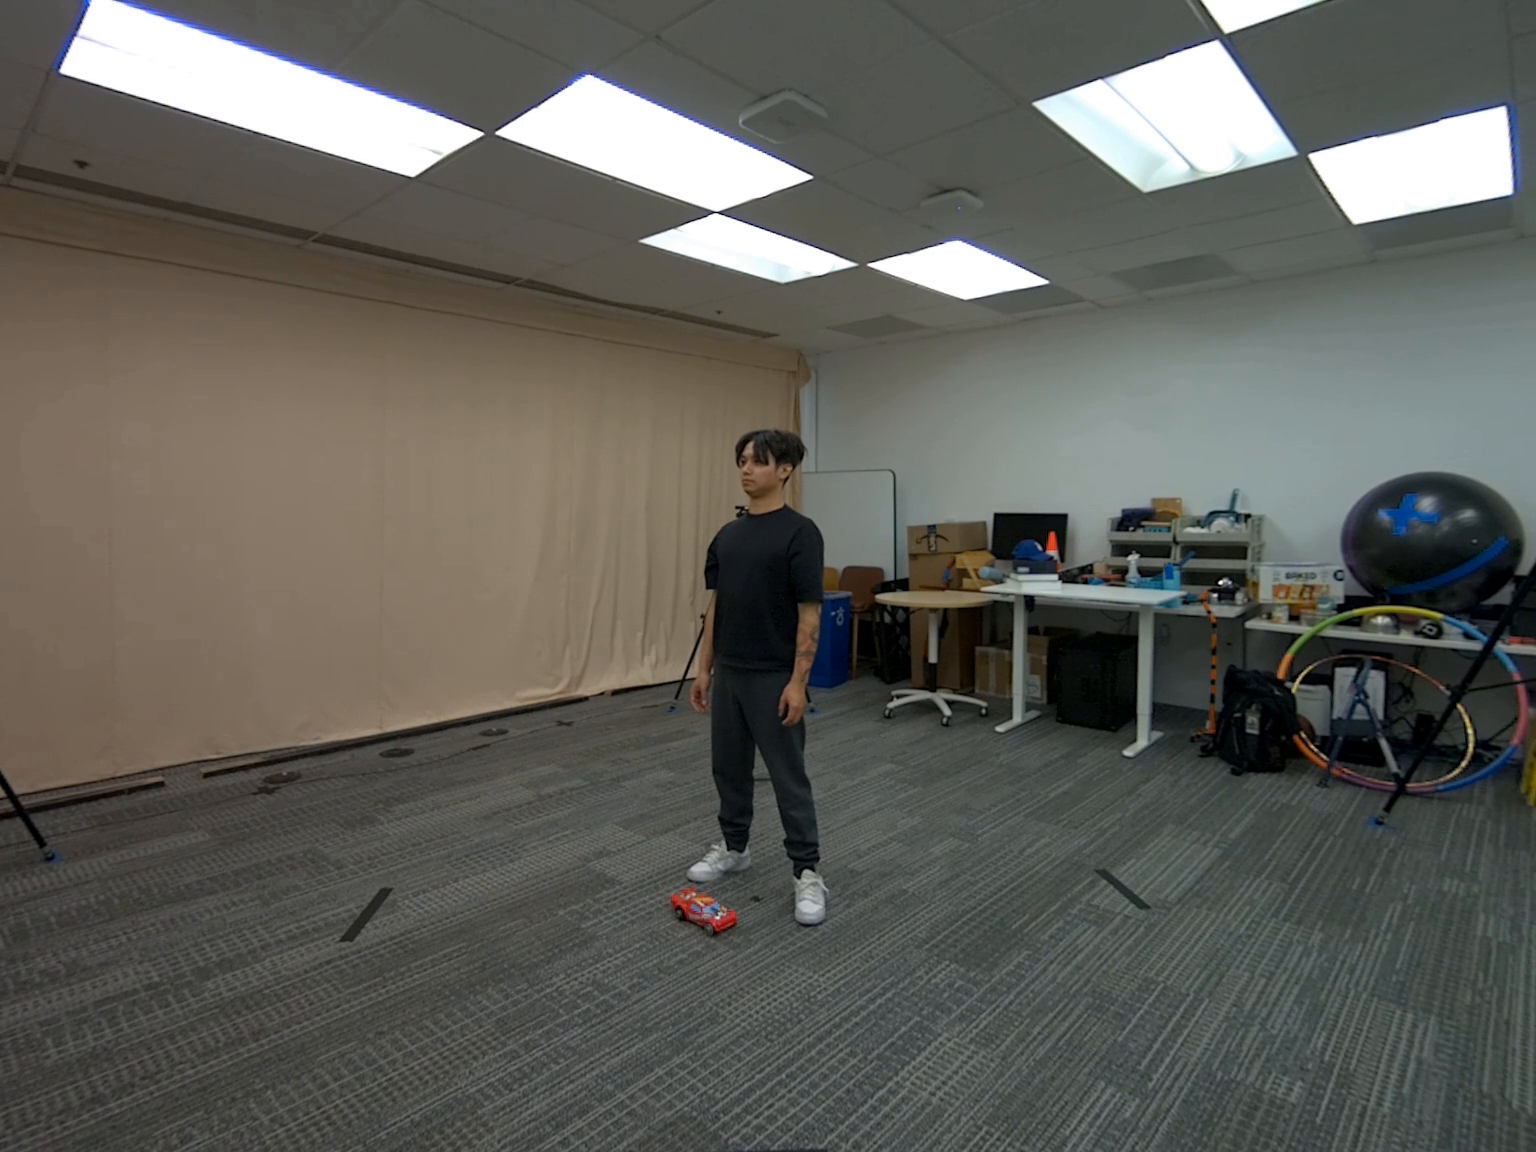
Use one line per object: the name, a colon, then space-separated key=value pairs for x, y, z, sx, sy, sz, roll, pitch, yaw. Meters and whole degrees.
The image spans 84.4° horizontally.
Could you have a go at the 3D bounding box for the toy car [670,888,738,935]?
toy car: x=-0.225 y=1.129 z=2.828 sx=0.126 sy=0.083 sz=0.264 roll=-5 pitch=17 yaw=-44
